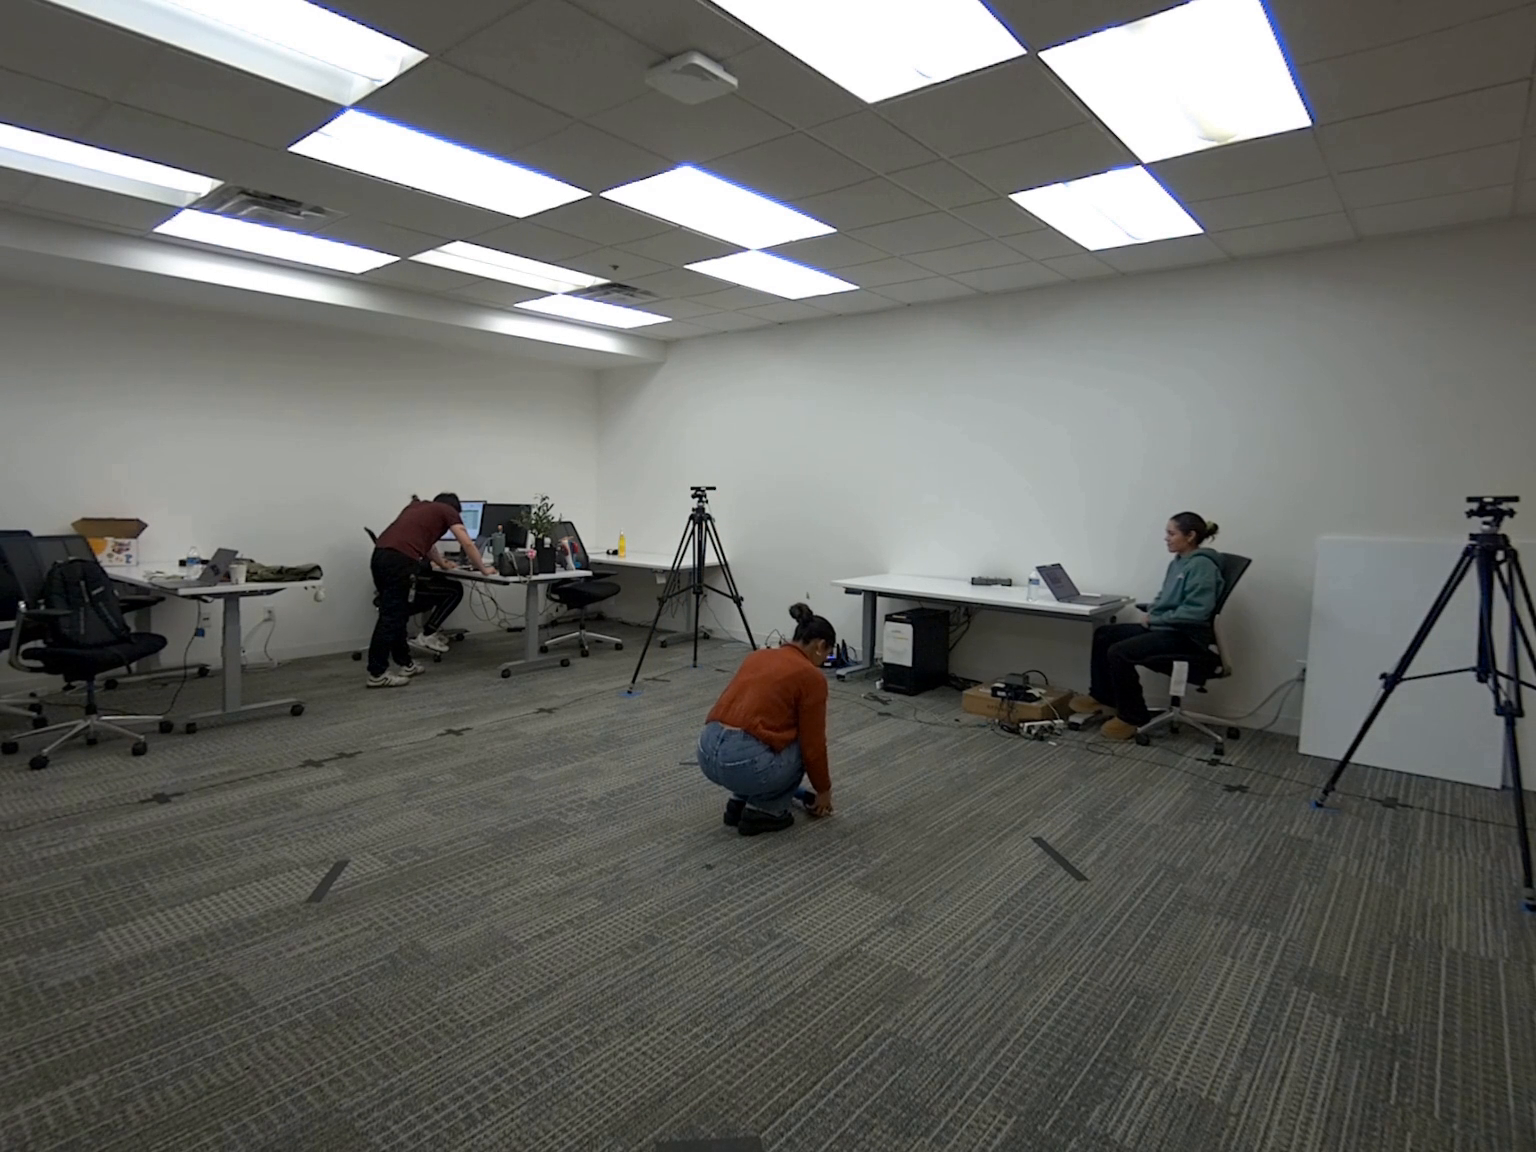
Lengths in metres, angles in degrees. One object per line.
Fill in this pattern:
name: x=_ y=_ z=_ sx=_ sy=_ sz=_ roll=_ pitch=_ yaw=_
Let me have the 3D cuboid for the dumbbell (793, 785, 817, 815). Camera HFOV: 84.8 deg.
dumbbell: x=0.128 y=0.945 z=3.732 sx=0.105 sy=0.123 sz=0.304 roll=15 pitch=-3 yaw=-41
